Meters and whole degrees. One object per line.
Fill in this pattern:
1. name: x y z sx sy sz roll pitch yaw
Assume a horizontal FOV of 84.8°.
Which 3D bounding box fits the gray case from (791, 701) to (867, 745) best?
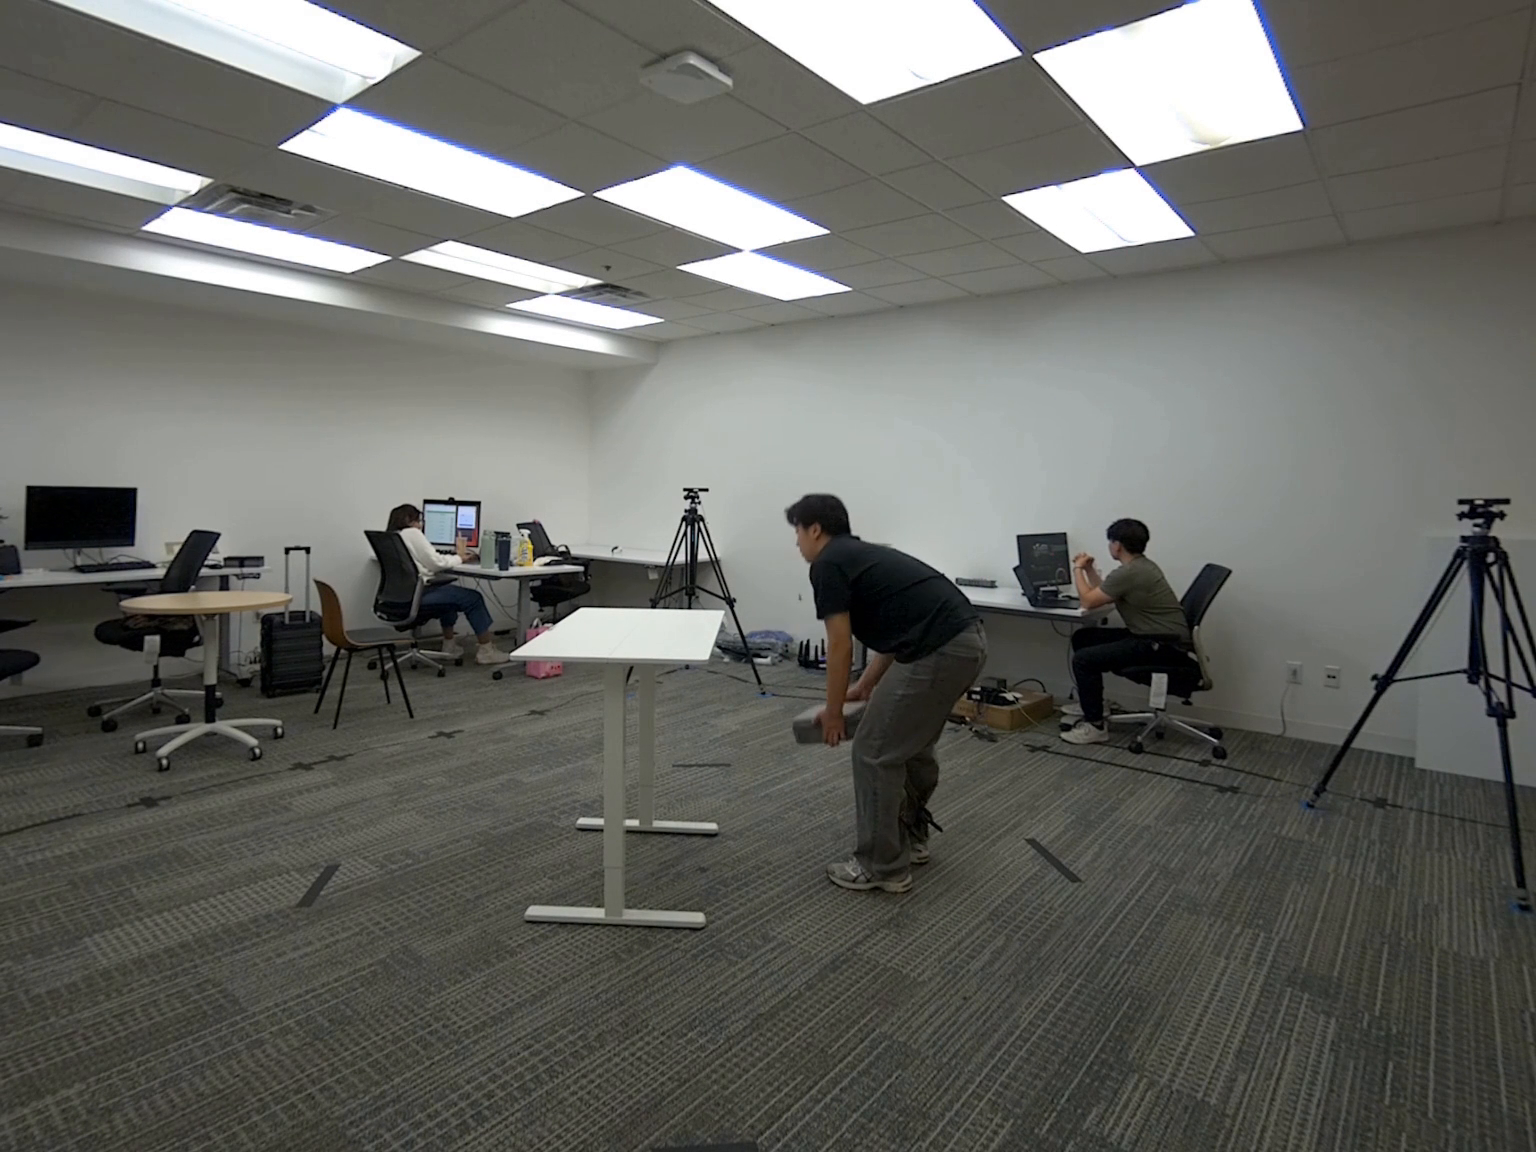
1. gray case: 0.222 0.558 3.285 0.293 0.103 0.257 -8 1 25
